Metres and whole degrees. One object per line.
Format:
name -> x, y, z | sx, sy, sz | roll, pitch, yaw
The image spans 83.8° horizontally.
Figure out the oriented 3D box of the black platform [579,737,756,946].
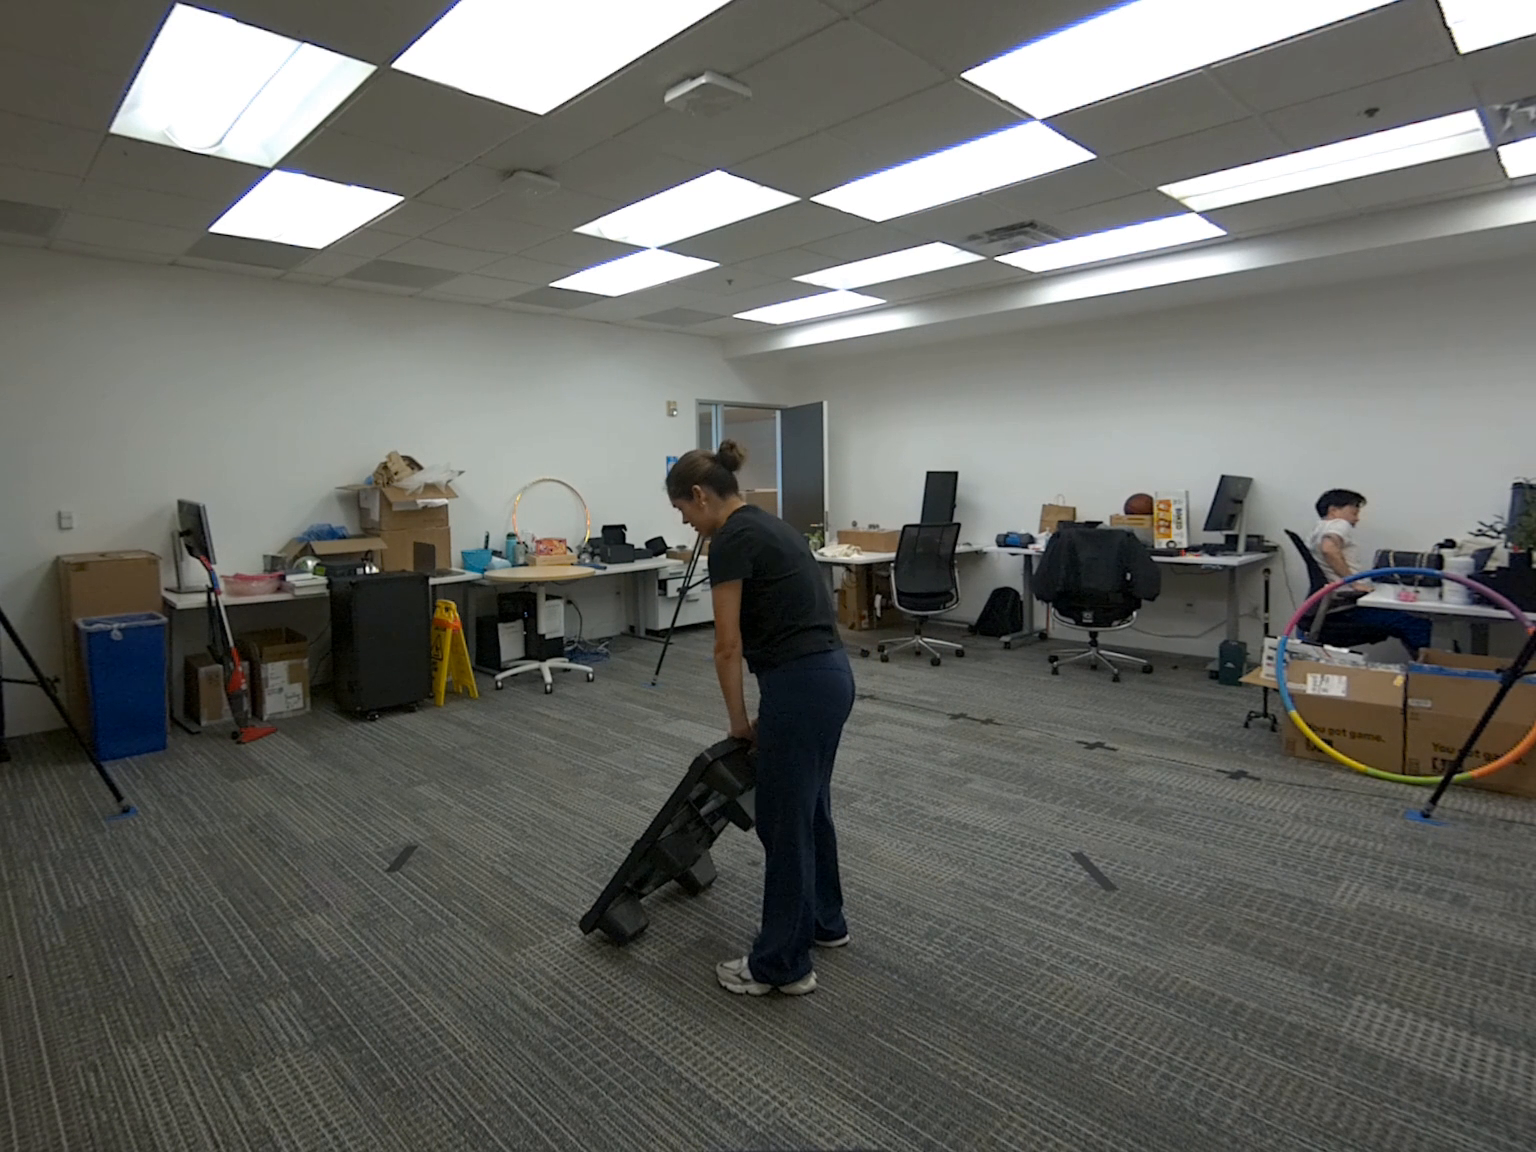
black platform -> -0.176, 0.772, 2.649 | 0.147, 0.801, 0.591 | 43, 25, 21
